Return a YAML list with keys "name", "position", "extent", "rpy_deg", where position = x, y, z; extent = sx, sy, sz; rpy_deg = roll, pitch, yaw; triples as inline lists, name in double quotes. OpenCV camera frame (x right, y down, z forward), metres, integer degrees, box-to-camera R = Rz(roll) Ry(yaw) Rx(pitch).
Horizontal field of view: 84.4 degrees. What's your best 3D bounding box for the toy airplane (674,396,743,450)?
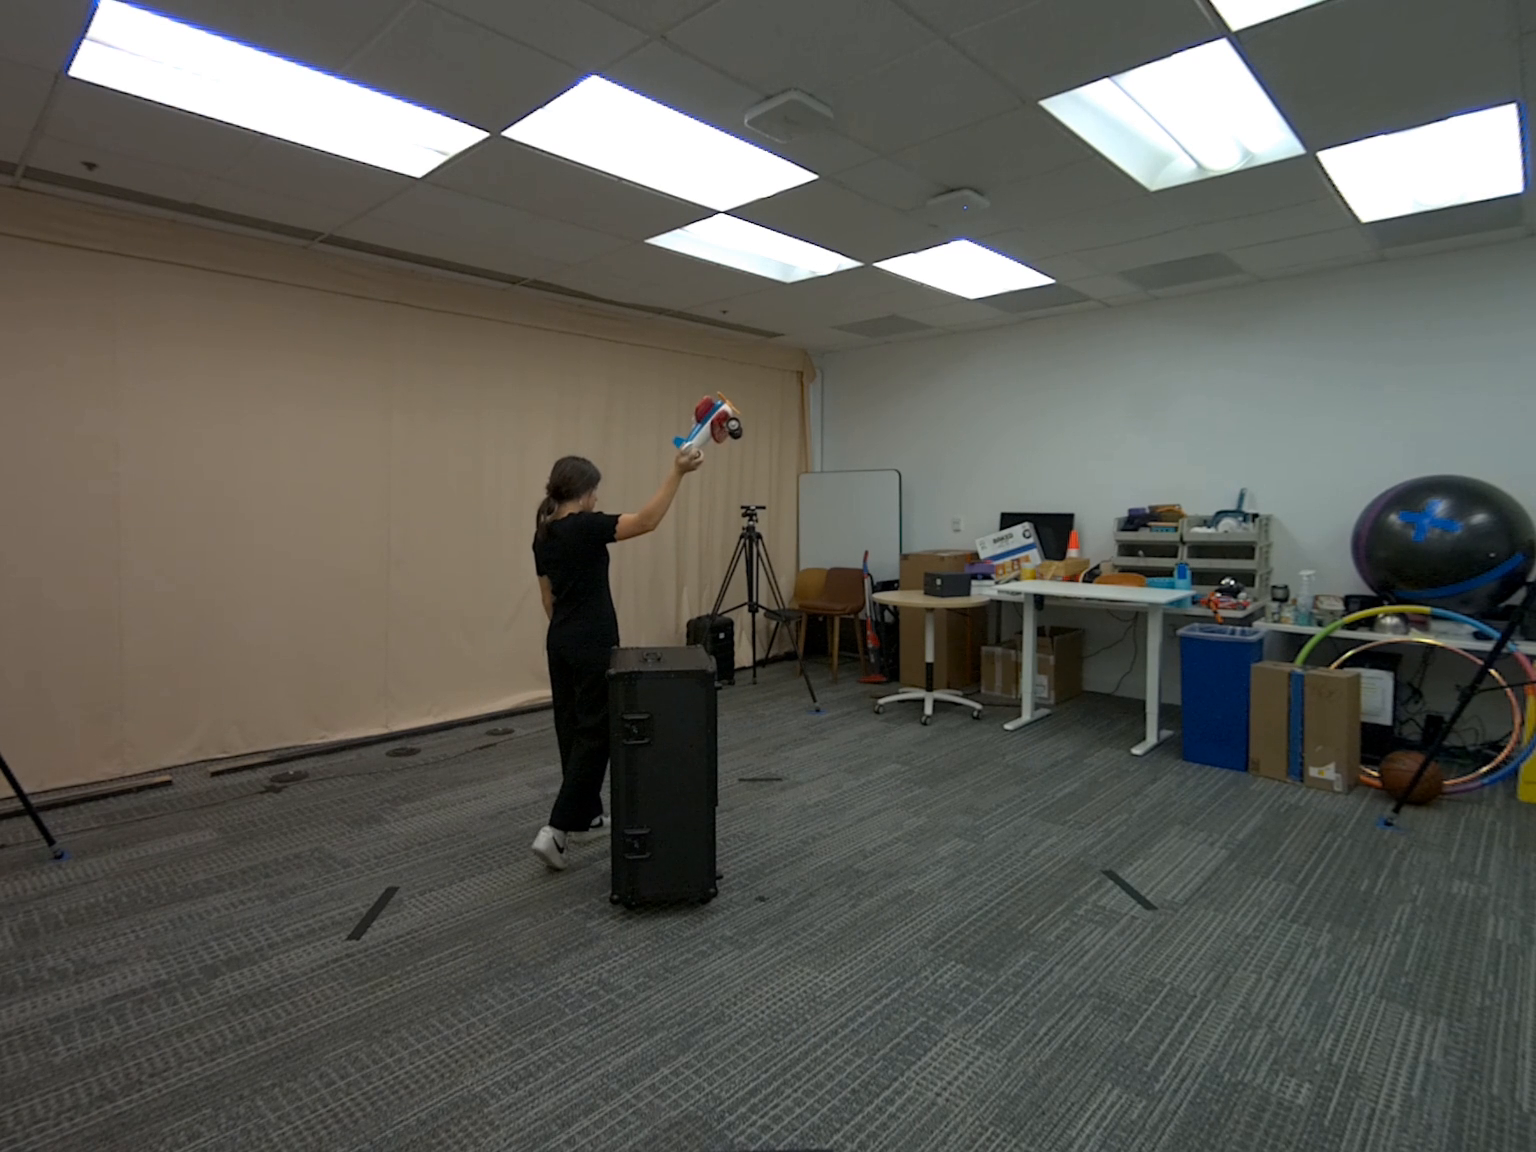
- name: "toy airplane"
  position: [-0.213, -0.541, 3.117]
  extent: [0.255, 0.159, 0.251]
  rpy_deg: [-28, -13, -28]
